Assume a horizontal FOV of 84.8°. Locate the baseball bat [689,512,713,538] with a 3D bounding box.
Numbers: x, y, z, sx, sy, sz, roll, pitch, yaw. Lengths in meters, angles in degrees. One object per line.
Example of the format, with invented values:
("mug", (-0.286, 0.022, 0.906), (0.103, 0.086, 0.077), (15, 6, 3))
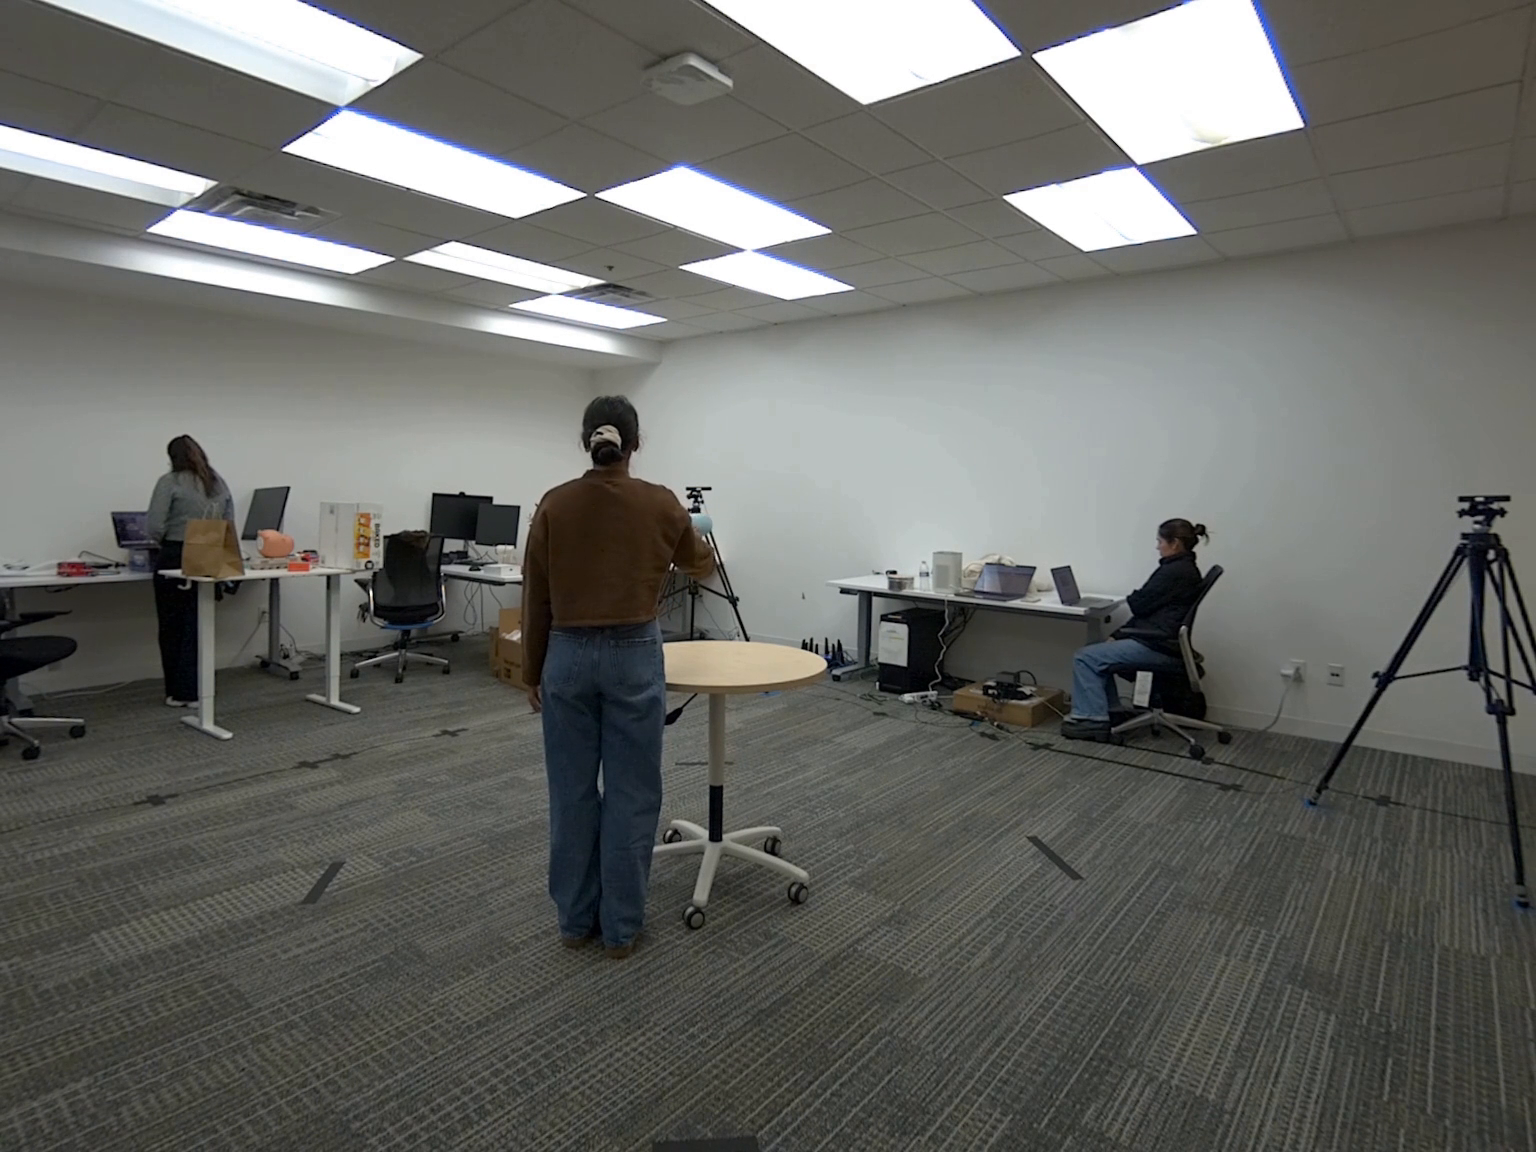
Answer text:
("baseball bat", (-0.321, -0.165, 2.962), (0.090, 0.088, 0.537), (2, 7, 12))
